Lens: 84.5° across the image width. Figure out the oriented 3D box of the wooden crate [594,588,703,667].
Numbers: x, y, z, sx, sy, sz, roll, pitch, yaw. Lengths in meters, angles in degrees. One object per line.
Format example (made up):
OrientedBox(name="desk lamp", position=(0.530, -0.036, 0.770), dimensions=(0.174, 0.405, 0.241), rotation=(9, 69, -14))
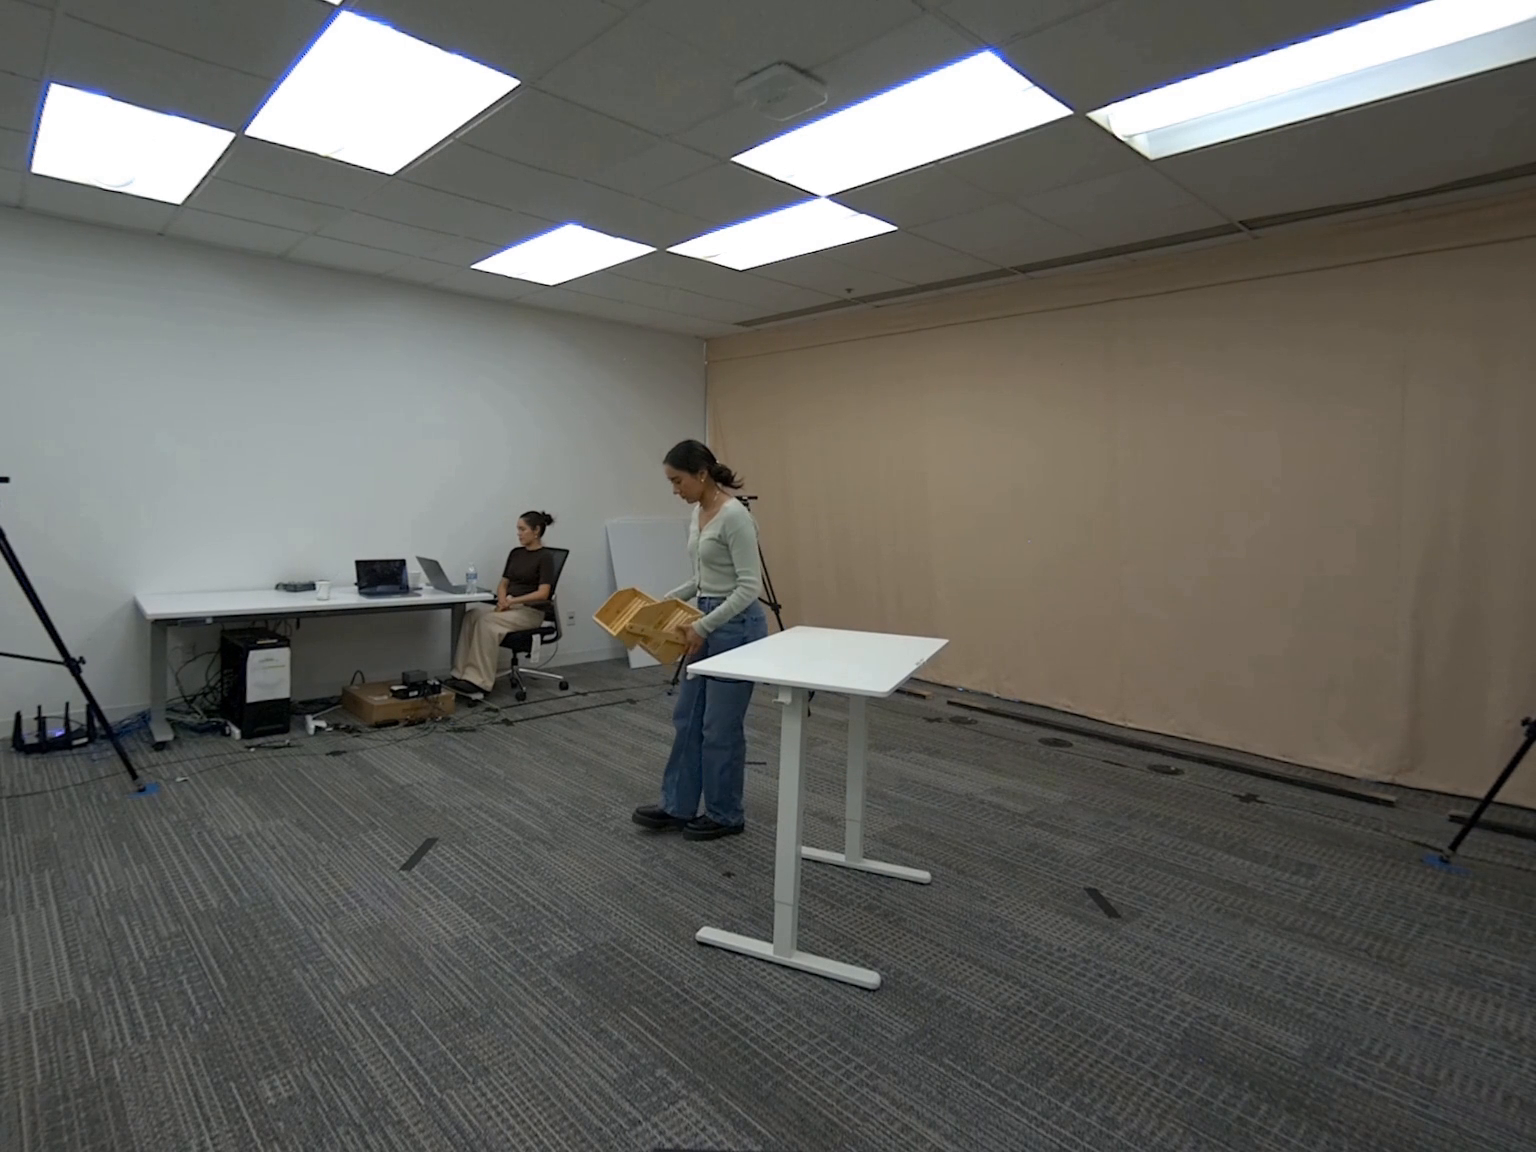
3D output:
OrientedBox(name="wooden crate", position=(-0.467, 0.166, 3.302), dimensions=(0.266, 0.302, 0.333), rotation=(49, -14, -27))
